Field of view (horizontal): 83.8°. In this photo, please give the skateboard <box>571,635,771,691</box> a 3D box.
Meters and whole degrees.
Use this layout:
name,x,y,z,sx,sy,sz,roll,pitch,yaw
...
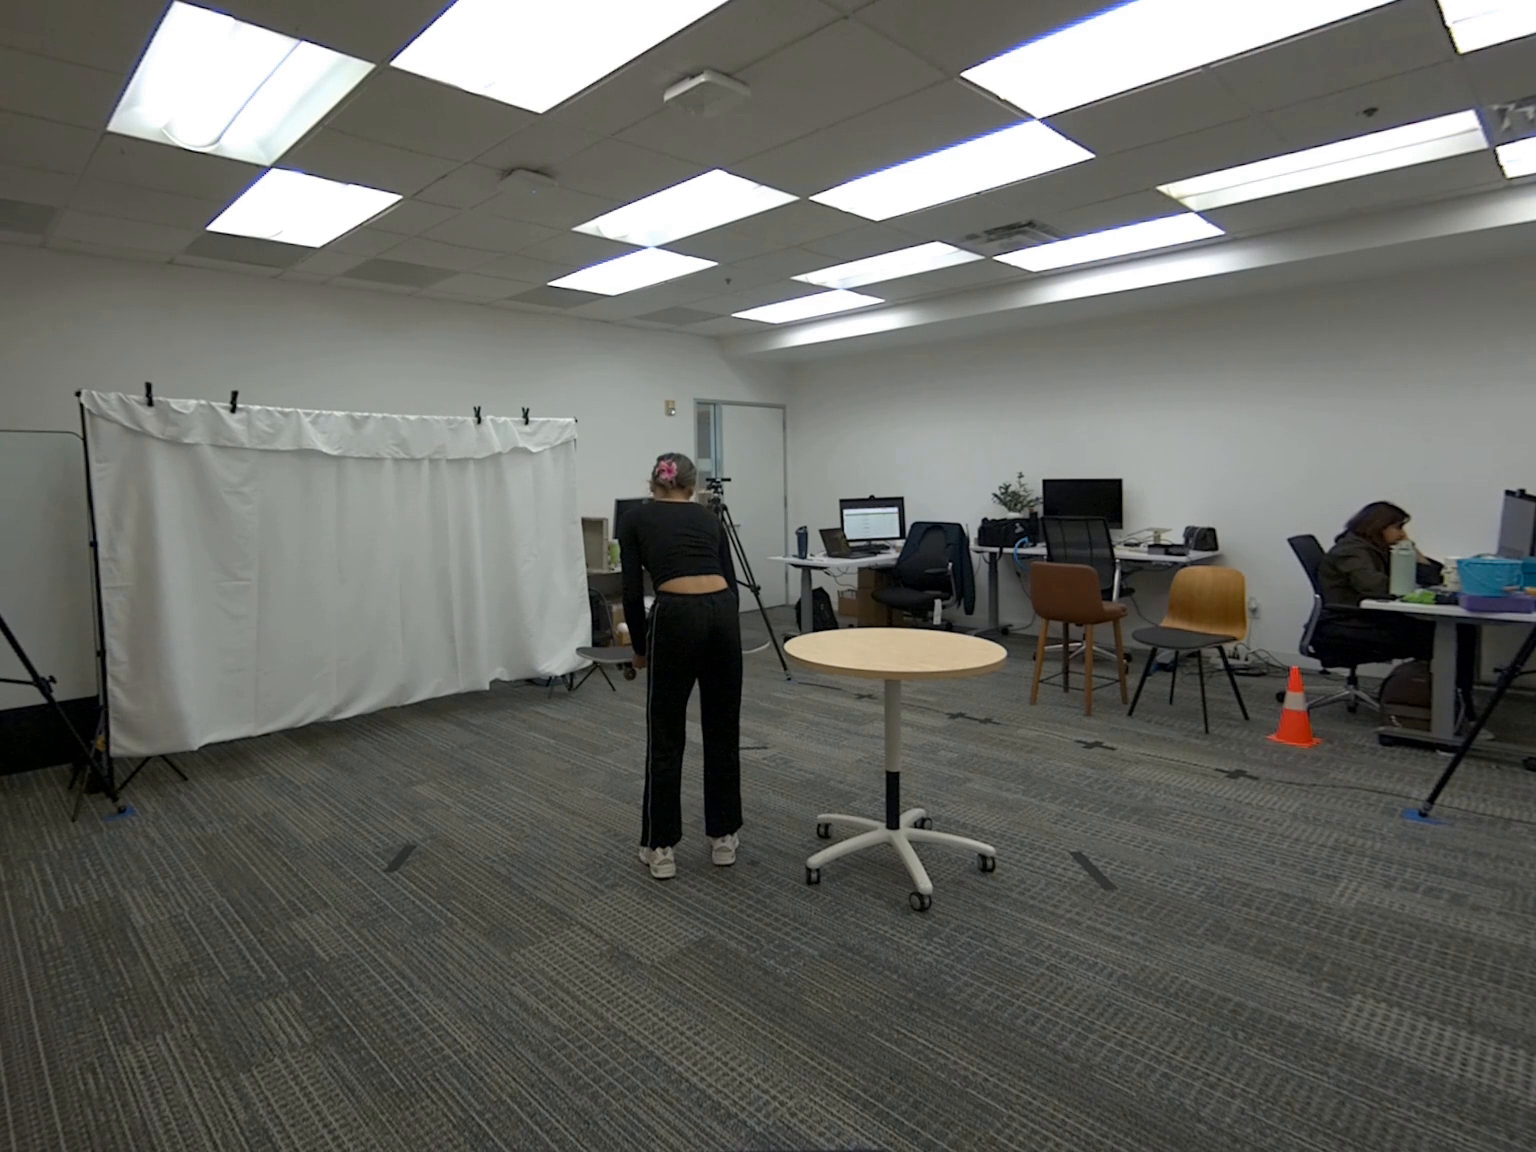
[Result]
name,x,y,z,sx,sy,sz,roll,pitch,yaw
skateboard,-0.371,0.325,3.405,0.771,0.109,0.198,-1,9,-19
